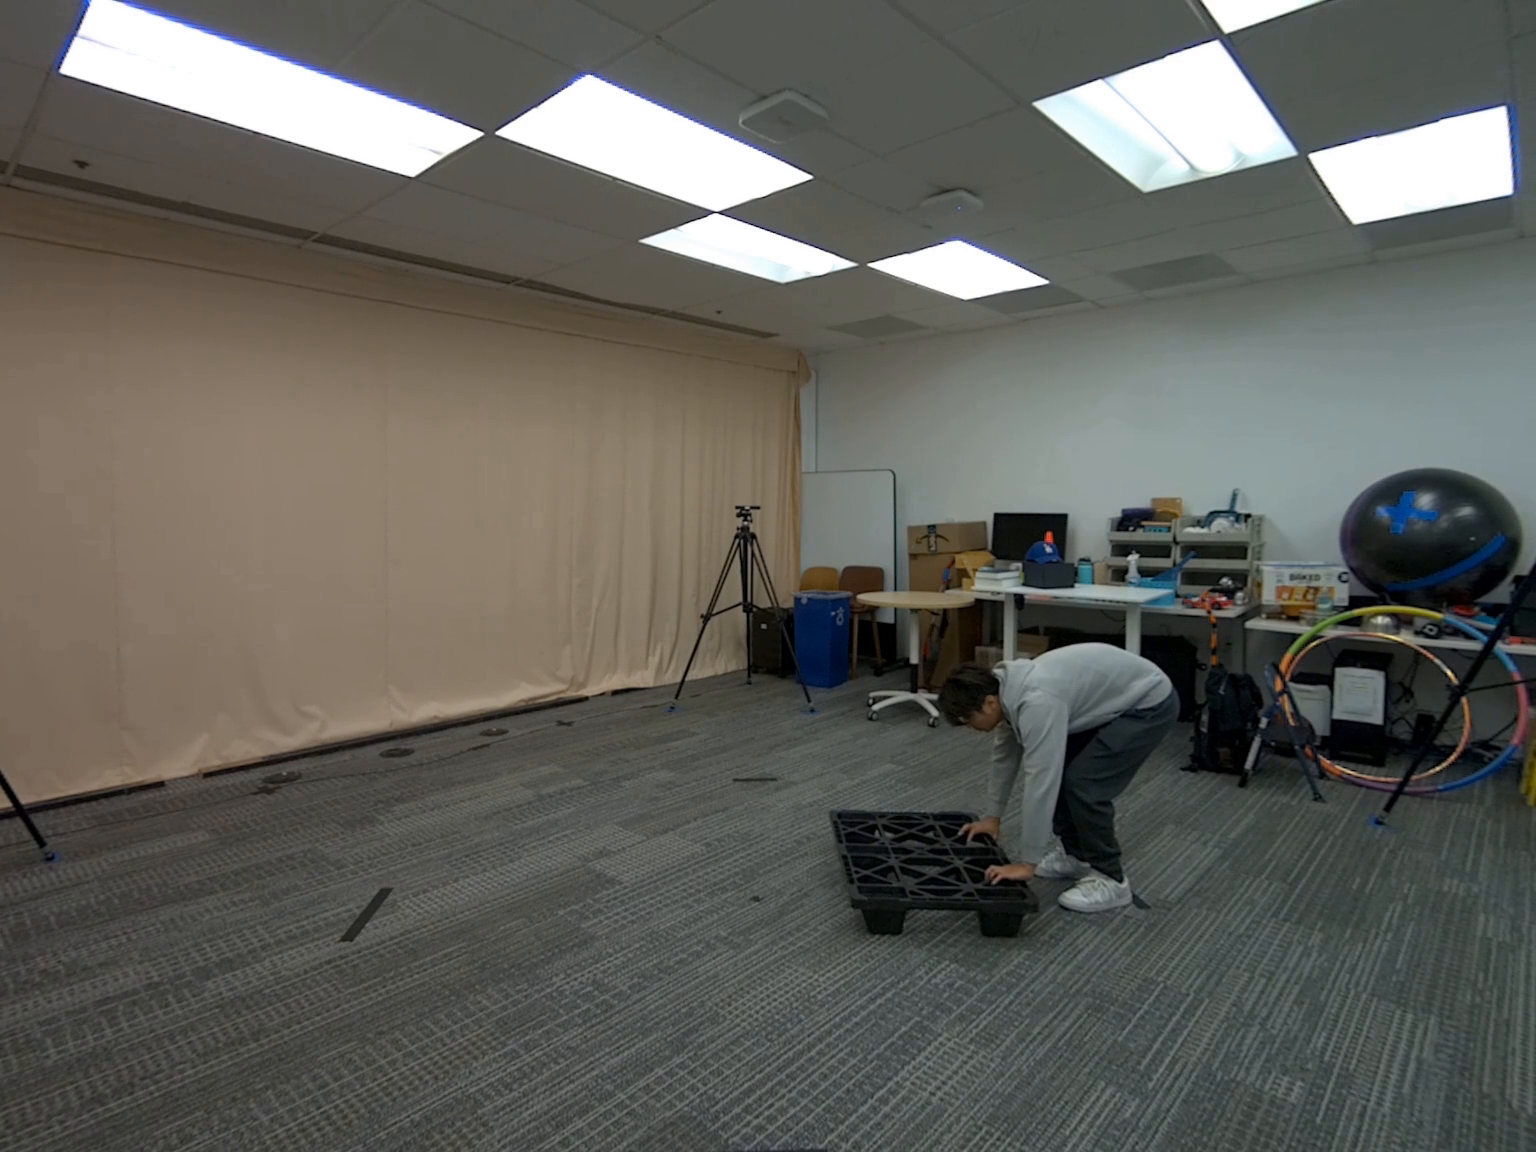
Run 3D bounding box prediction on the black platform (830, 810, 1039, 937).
[{"bbox_3d":[0.561,1.065,3.077,0.606,0.143,0.806,0,4,0],"label":"black platform"}]
